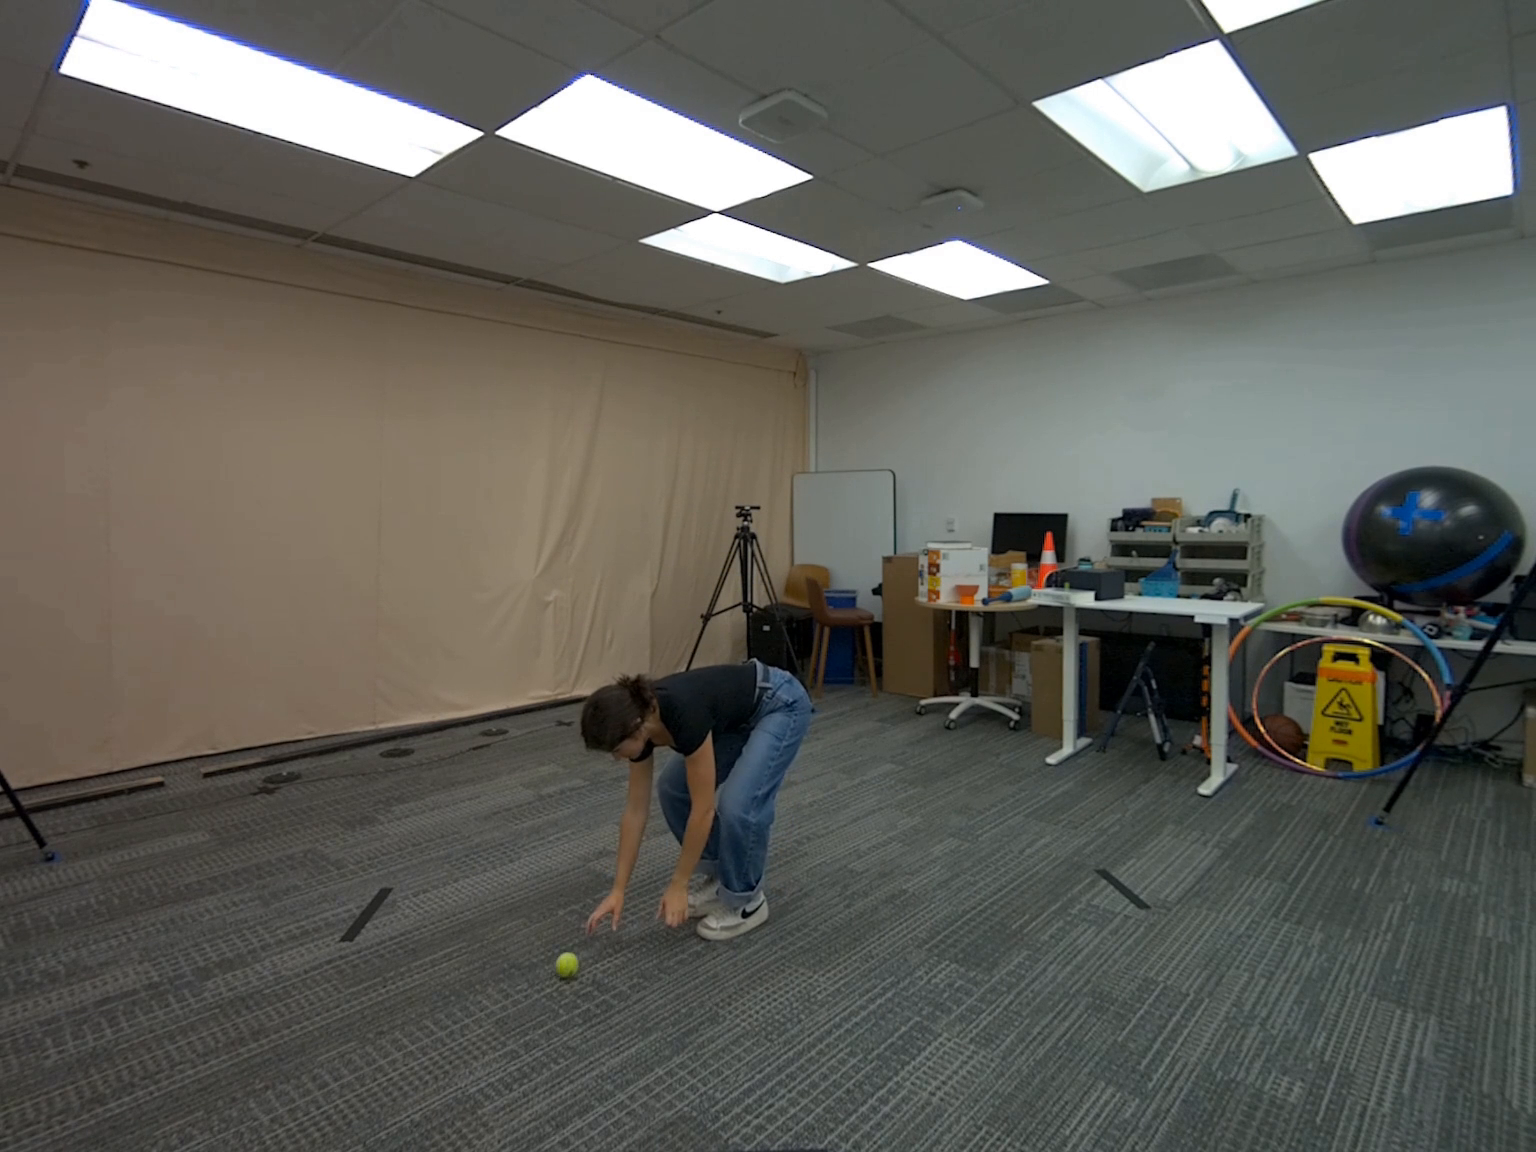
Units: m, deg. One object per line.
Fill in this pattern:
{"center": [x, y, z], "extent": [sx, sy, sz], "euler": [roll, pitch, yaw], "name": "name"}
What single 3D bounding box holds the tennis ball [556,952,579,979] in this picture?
{"center": [-0.567, 1.126, 2.524], "extent": [0.066, 0.066, 0.067], "euler": [0, 4, -2], "name": "tennis ball"}
